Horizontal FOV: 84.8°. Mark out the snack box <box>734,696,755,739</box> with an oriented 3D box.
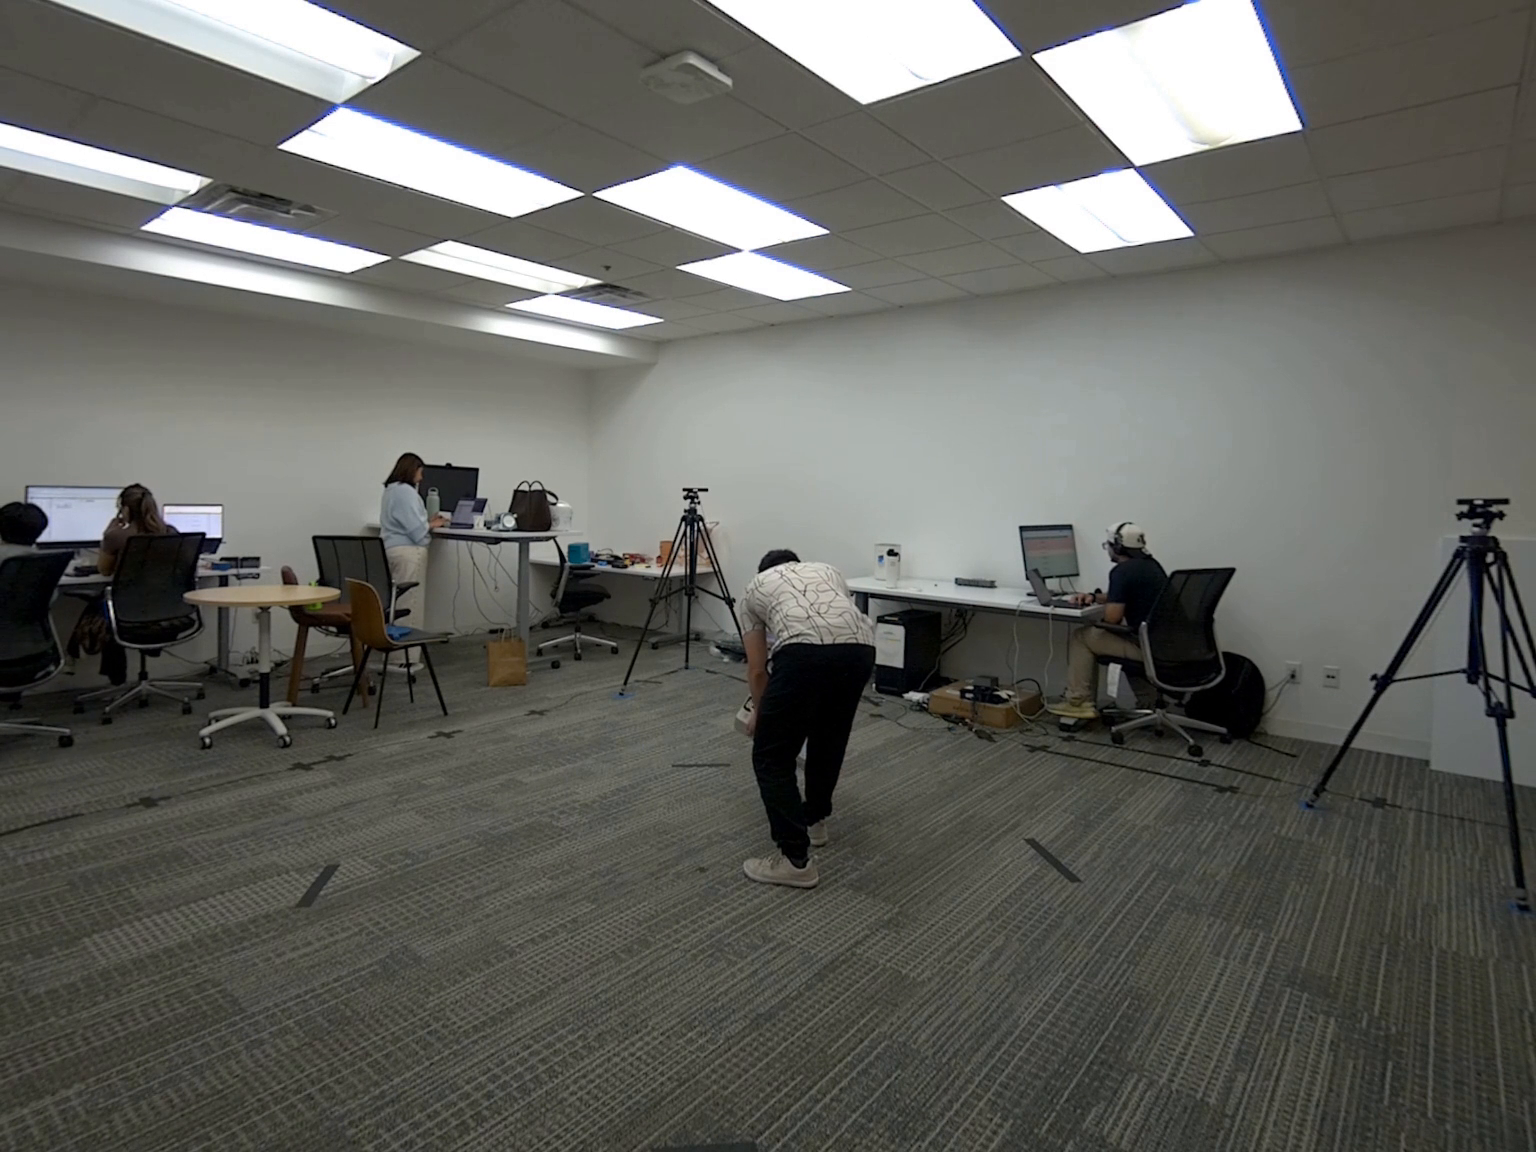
[{"bbox_3d":[0.102,0.621,3.769,0.413,0.342,0.201,29,-25,13],"label":"snack box"}]
